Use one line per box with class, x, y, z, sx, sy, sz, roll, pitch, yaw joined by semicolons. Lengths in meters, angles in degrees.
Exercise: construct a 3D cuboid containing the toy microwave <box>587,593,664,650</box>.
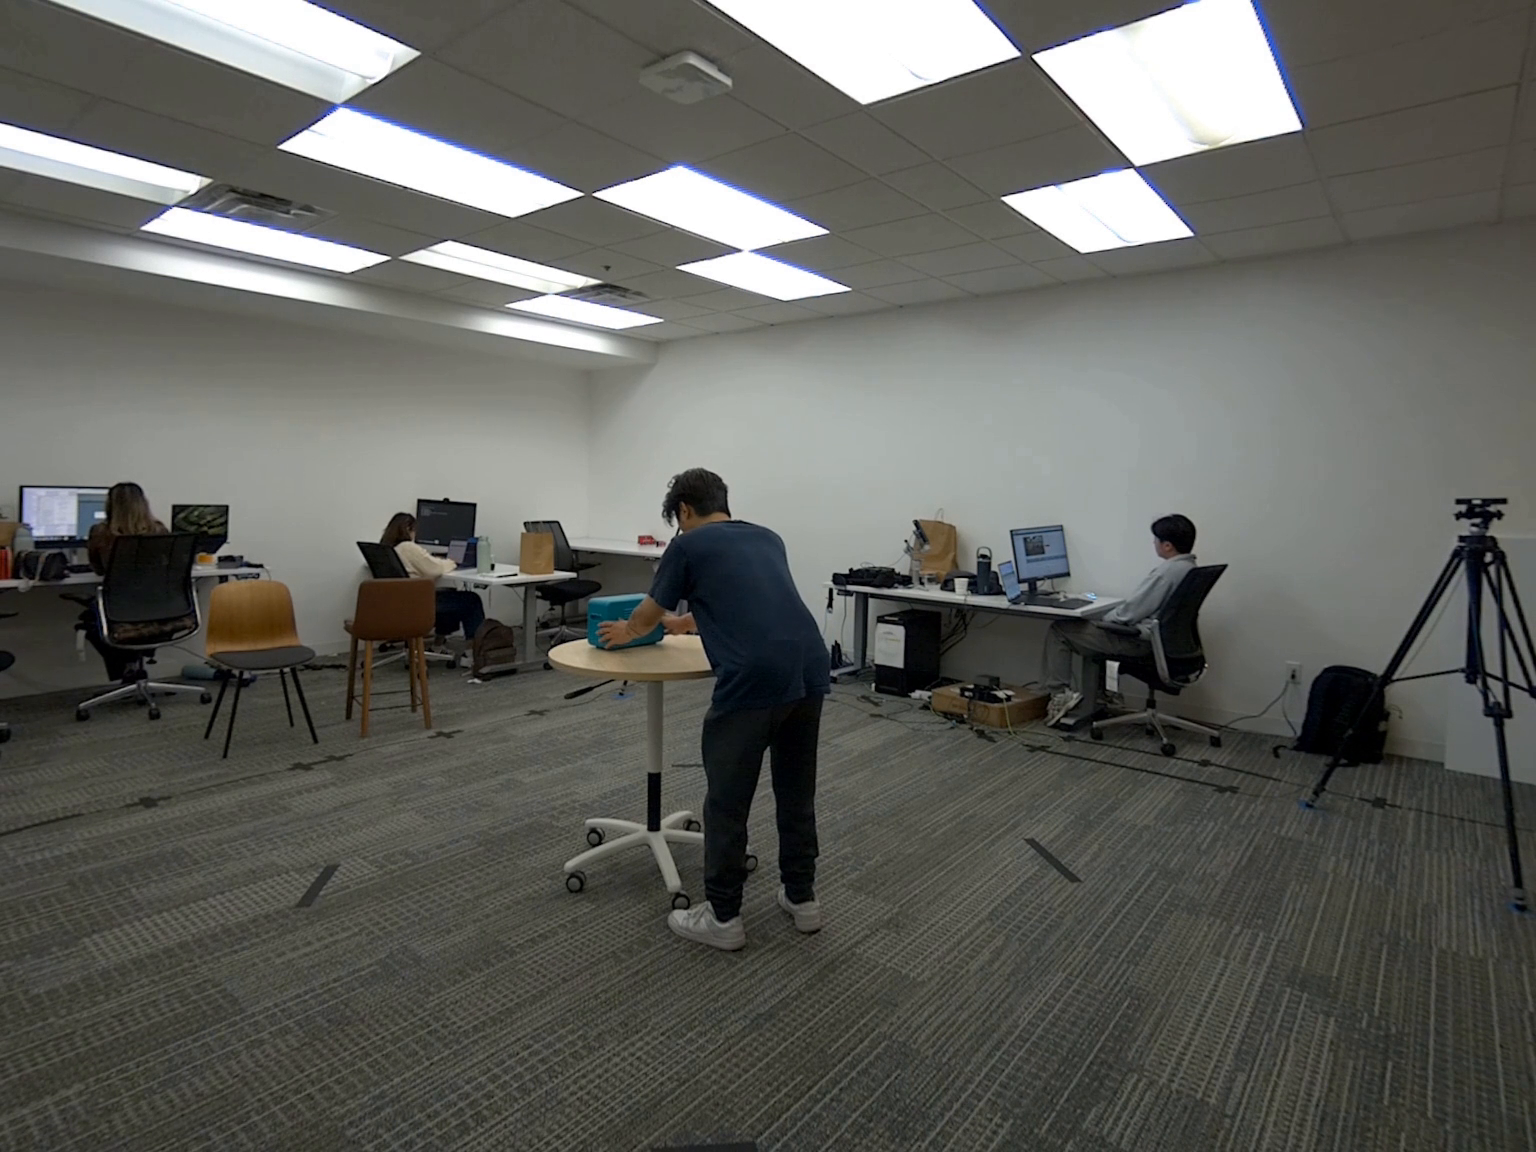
toy microwave;-0.549;0.167;3.202;0.157;0.183;0.278;3;5;42
